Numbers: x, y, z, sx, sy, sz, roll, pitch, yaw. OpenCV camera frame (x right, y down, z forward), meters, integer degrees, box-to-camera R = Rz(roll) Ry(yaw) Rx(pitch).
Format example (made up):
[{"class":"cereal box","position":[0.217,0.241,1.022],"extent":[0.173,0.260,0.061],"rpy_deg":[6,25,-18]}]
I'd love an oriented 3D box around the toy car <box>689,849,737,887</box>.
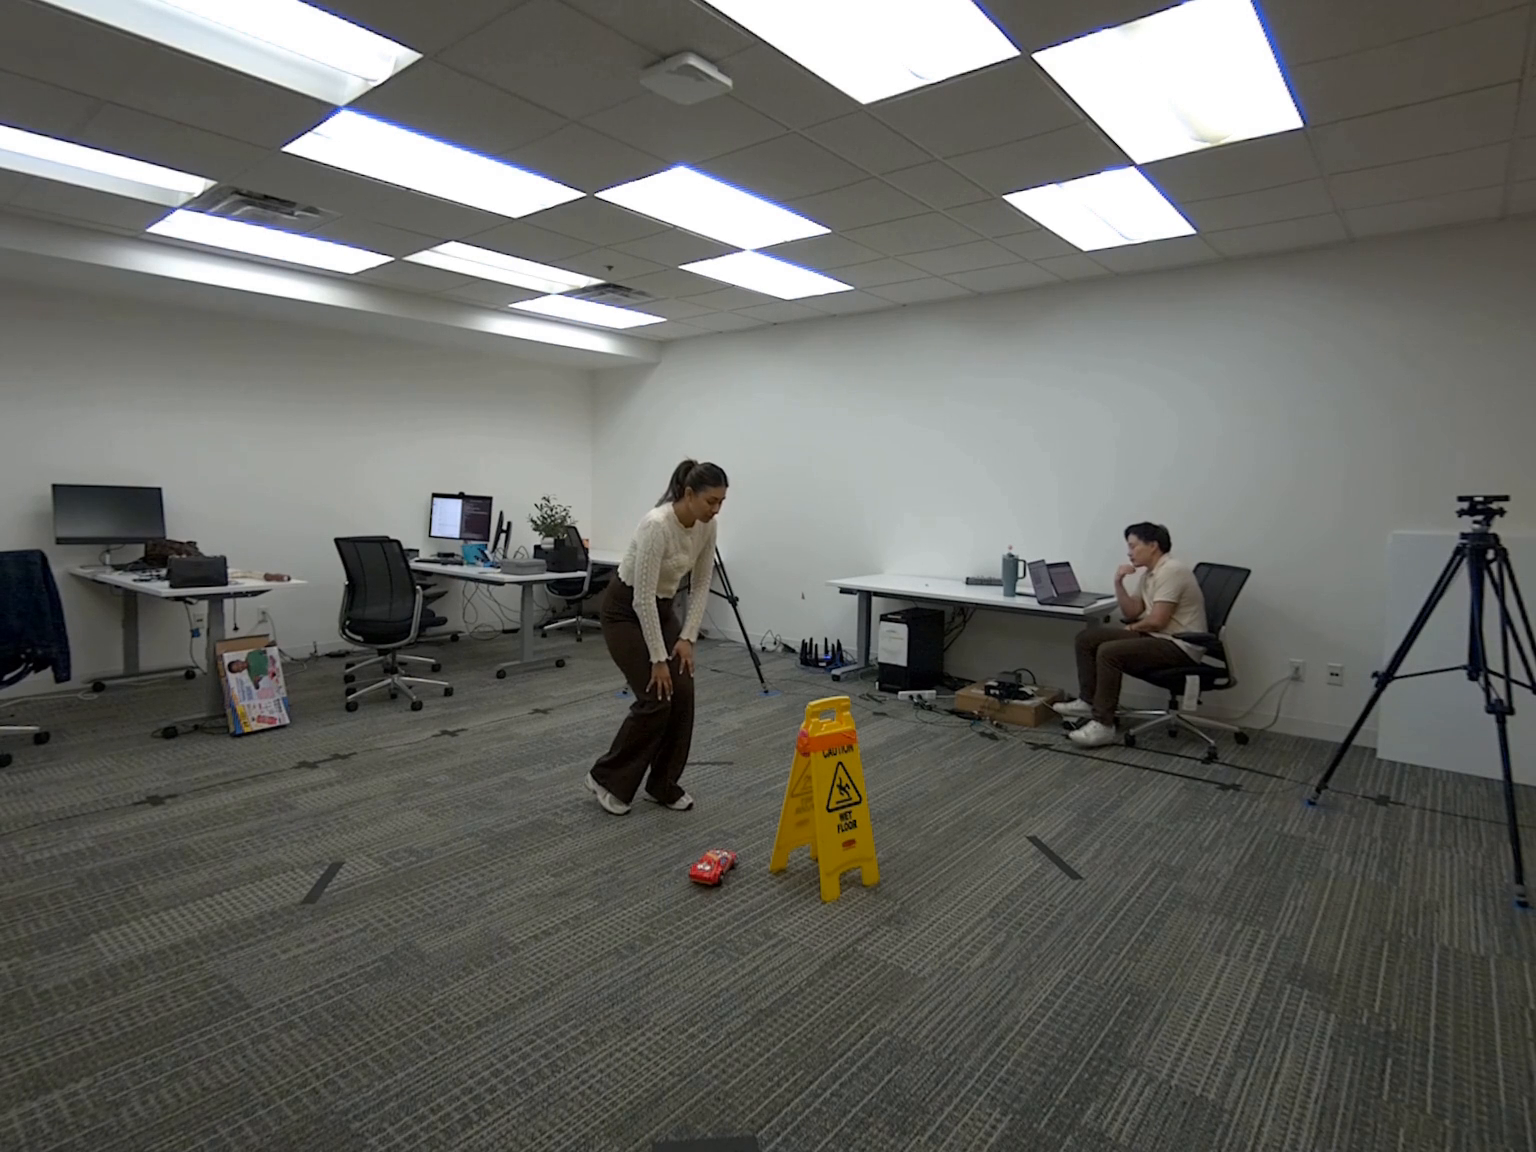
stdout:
[{"class":"toy car","position":[-0.209,1.039,3.044],"extent":[0.133,0.083,0.248],"rpy_deg":[4,-5,19]}]
